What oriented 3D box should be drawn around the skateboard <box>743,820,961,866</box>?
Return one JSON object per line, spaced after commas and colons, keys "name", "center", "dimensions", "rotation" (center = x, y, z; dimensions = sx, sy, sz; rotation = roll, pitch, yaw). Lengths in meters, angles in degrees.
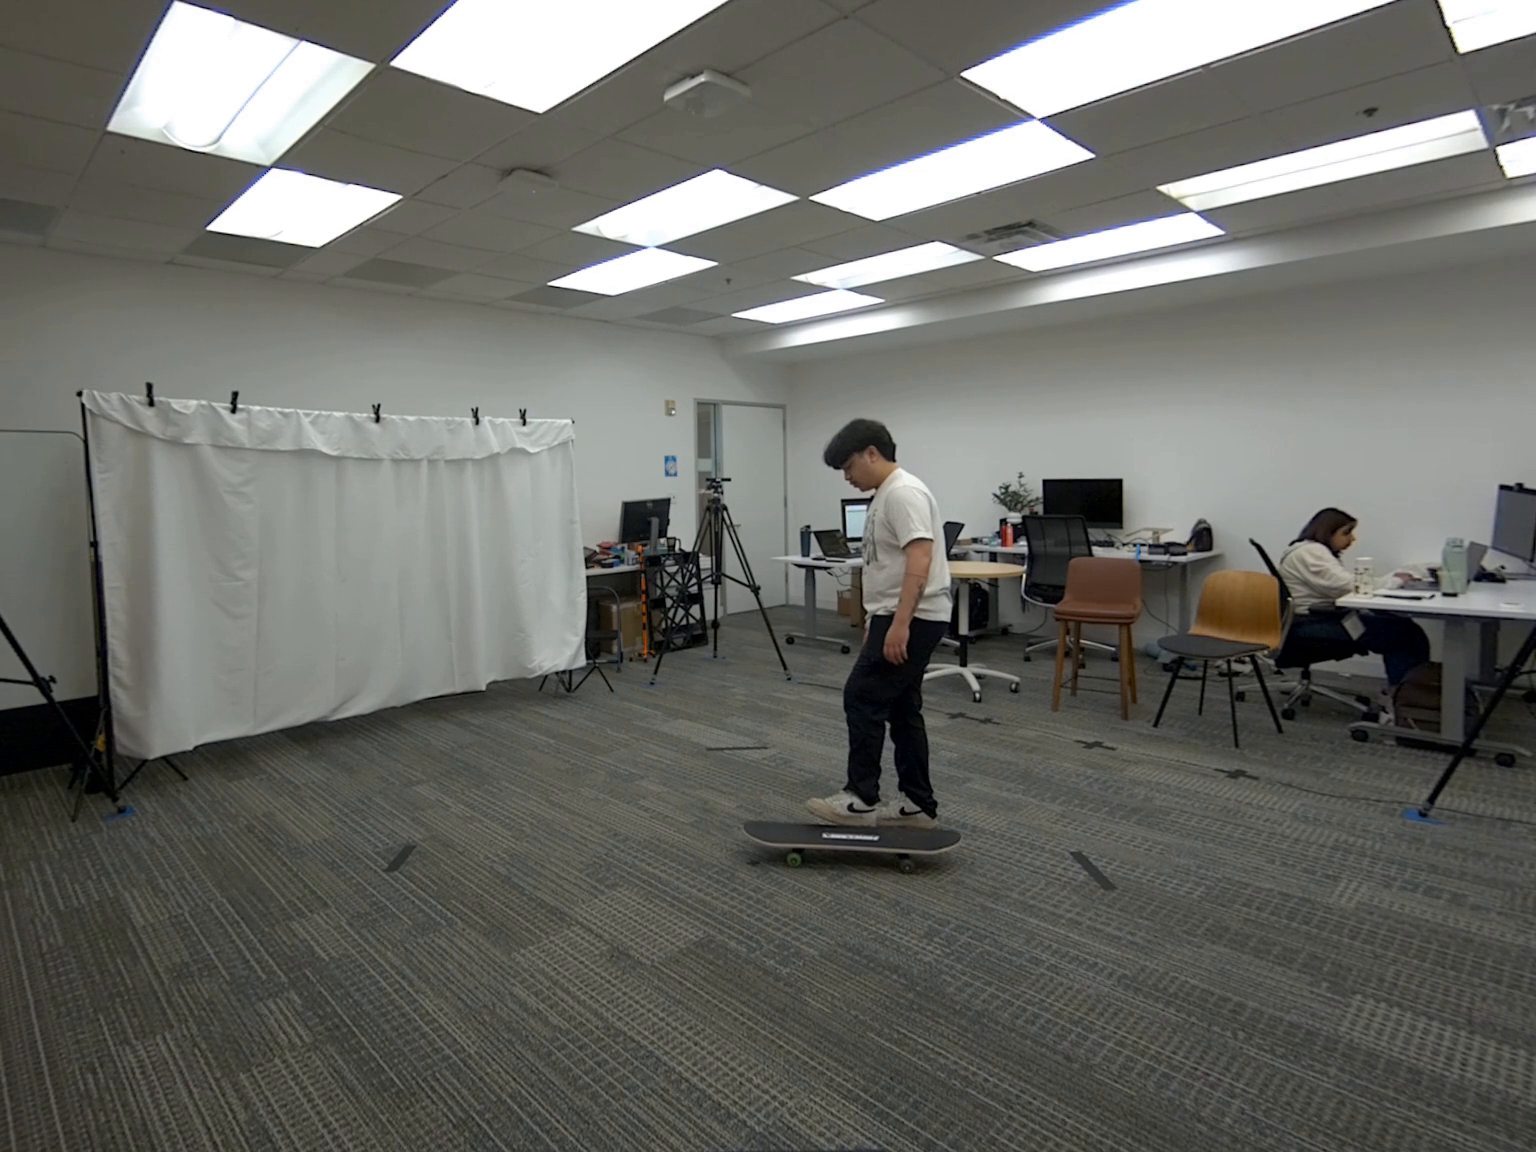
{"name": "skateboard", "center": [0.298, 0.978, 3.110], "dimensions": [0.793, 0.110, 0.192], "rotation": [0, 6, 9]}
